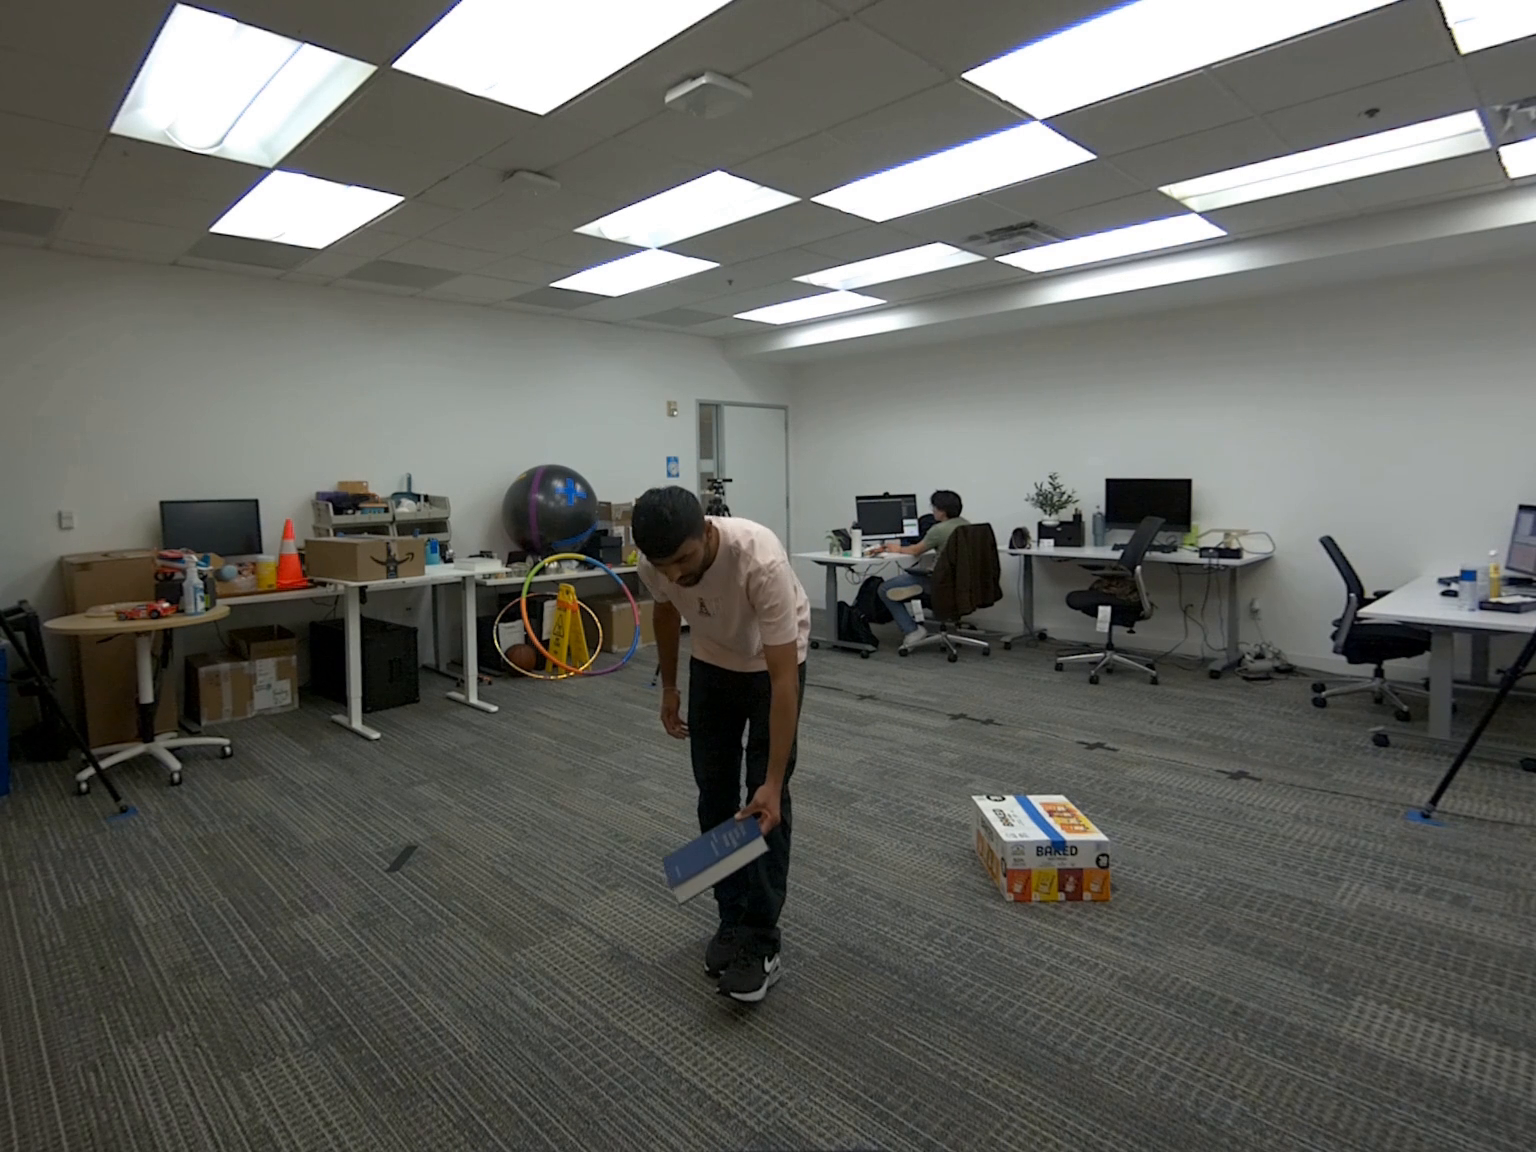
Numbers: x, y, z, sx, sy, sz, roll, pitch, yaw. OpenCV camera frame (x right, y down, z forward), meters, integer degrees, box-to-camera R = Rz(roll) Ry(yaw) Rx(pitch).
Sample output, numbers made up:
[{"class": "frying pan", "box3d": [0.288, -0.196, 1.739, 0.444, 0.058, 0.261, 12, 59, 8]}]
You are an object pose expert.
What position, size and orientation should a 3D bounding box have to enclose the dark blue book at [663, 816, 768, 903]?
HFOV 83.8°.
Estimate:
[{"class": "dark blue book", "box3d": [-0.126, 0.664, 2.031, 0.244, 0.044, 0.166, -27, 12, -9]}]
